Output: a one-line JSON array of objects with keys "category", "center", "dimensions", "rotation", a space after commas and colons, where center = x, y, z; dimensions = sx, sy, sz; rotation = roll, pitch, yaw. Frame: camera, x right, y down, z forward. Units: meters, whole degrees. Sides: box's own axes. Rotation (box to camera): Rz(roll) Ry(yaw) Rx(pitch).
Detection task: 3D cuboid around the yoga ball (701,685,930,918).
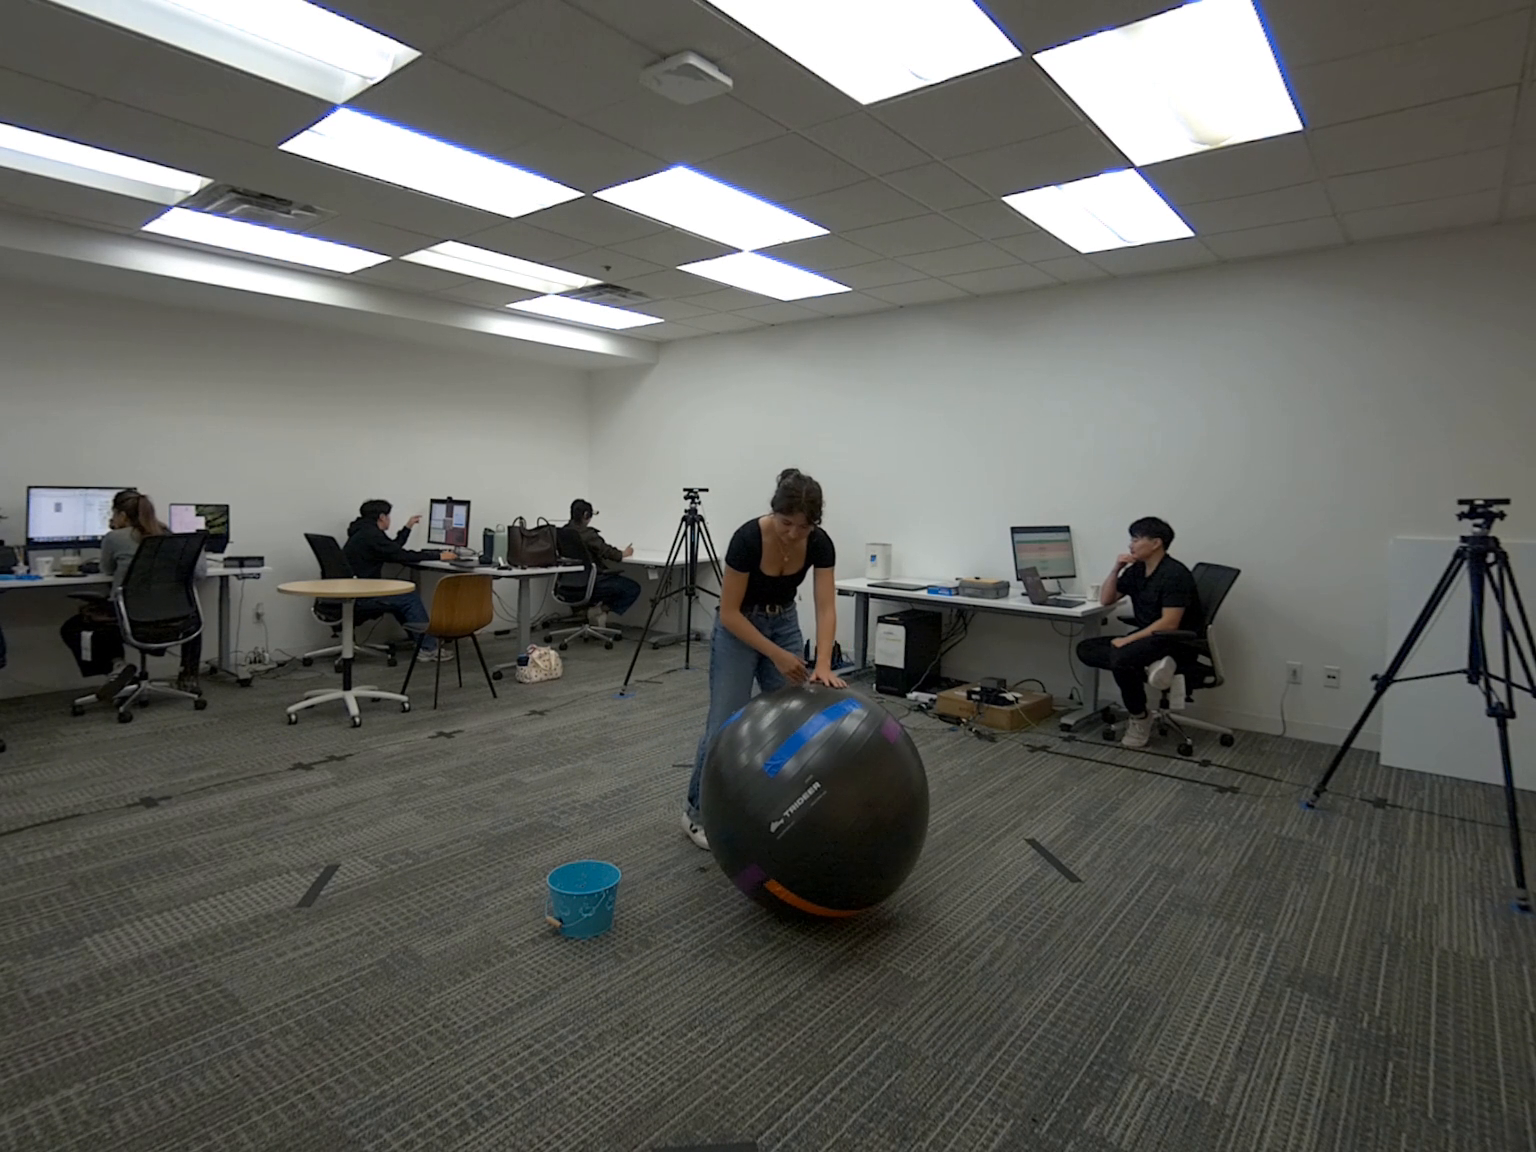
[{"category": "yoga ball", "center": [0.135, 0.736, 2.832], "dimensions": [0.757, 0.756, 0.762], "rotation": [1, 4, -2]}]
